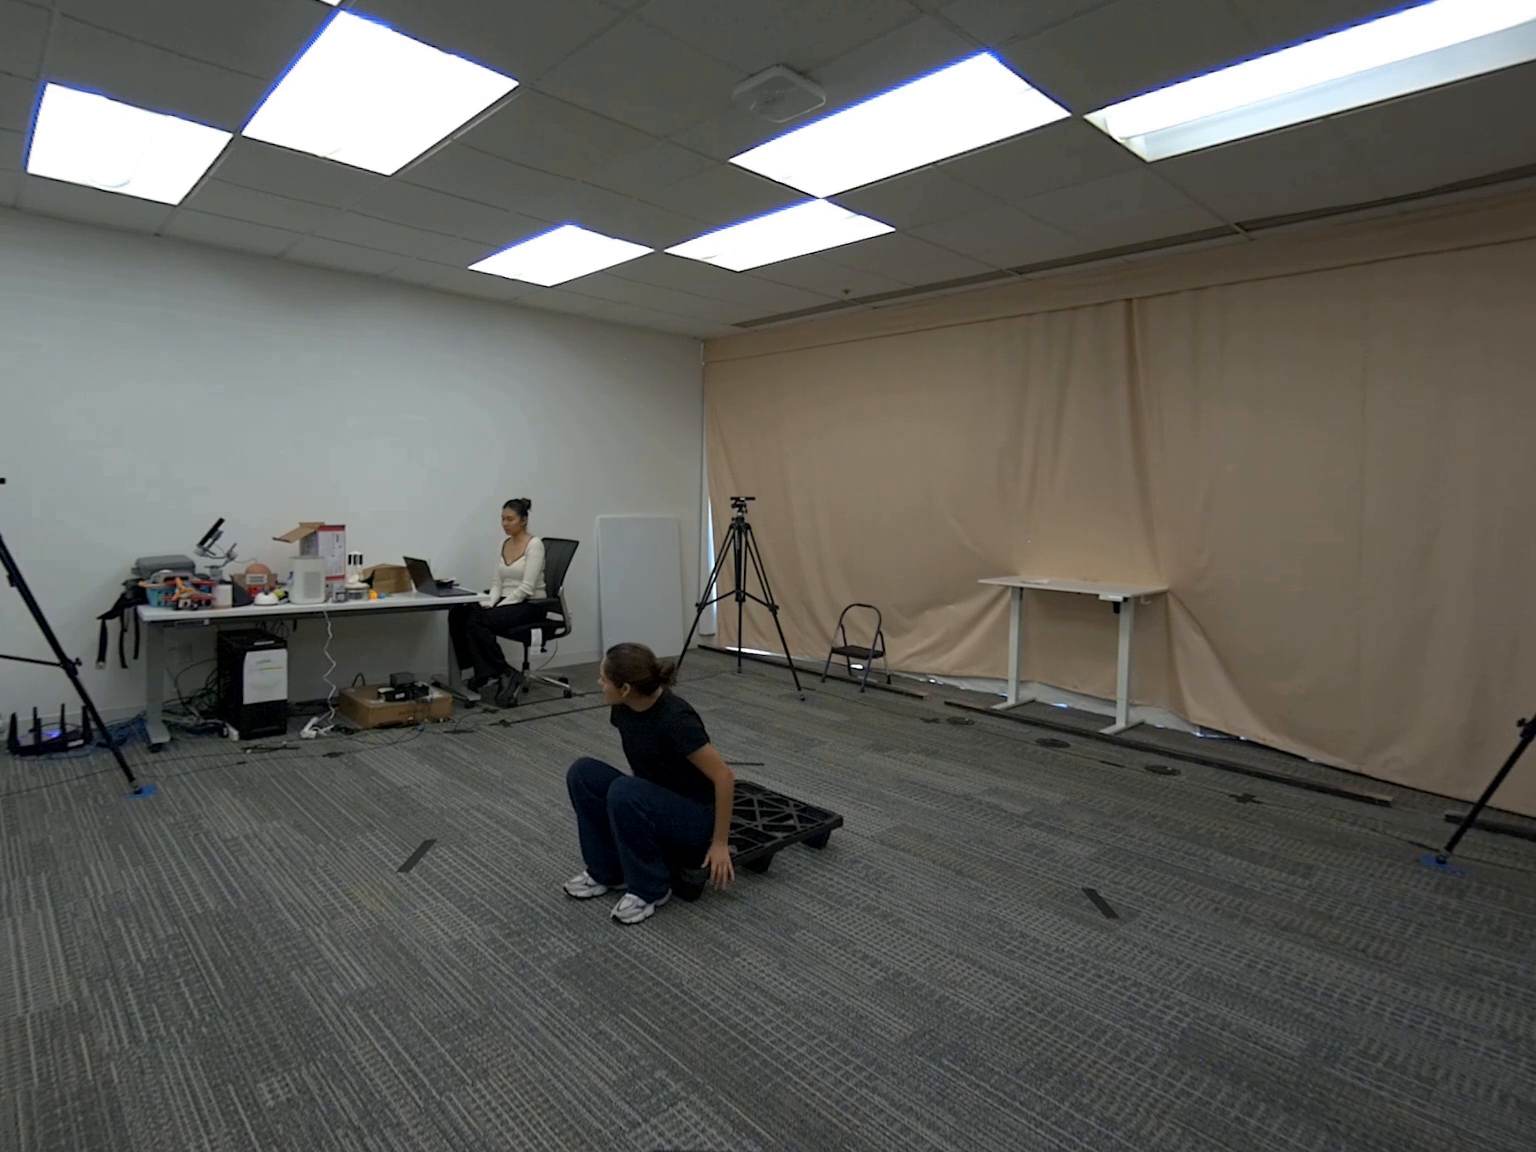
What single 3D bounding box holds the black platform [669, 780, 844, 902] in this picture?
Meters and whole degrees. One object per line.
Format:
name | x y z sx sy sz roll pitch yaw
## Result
black platform | -0.190 1.024 3.297 0.787 0.143 0.620 -4 7 -45
